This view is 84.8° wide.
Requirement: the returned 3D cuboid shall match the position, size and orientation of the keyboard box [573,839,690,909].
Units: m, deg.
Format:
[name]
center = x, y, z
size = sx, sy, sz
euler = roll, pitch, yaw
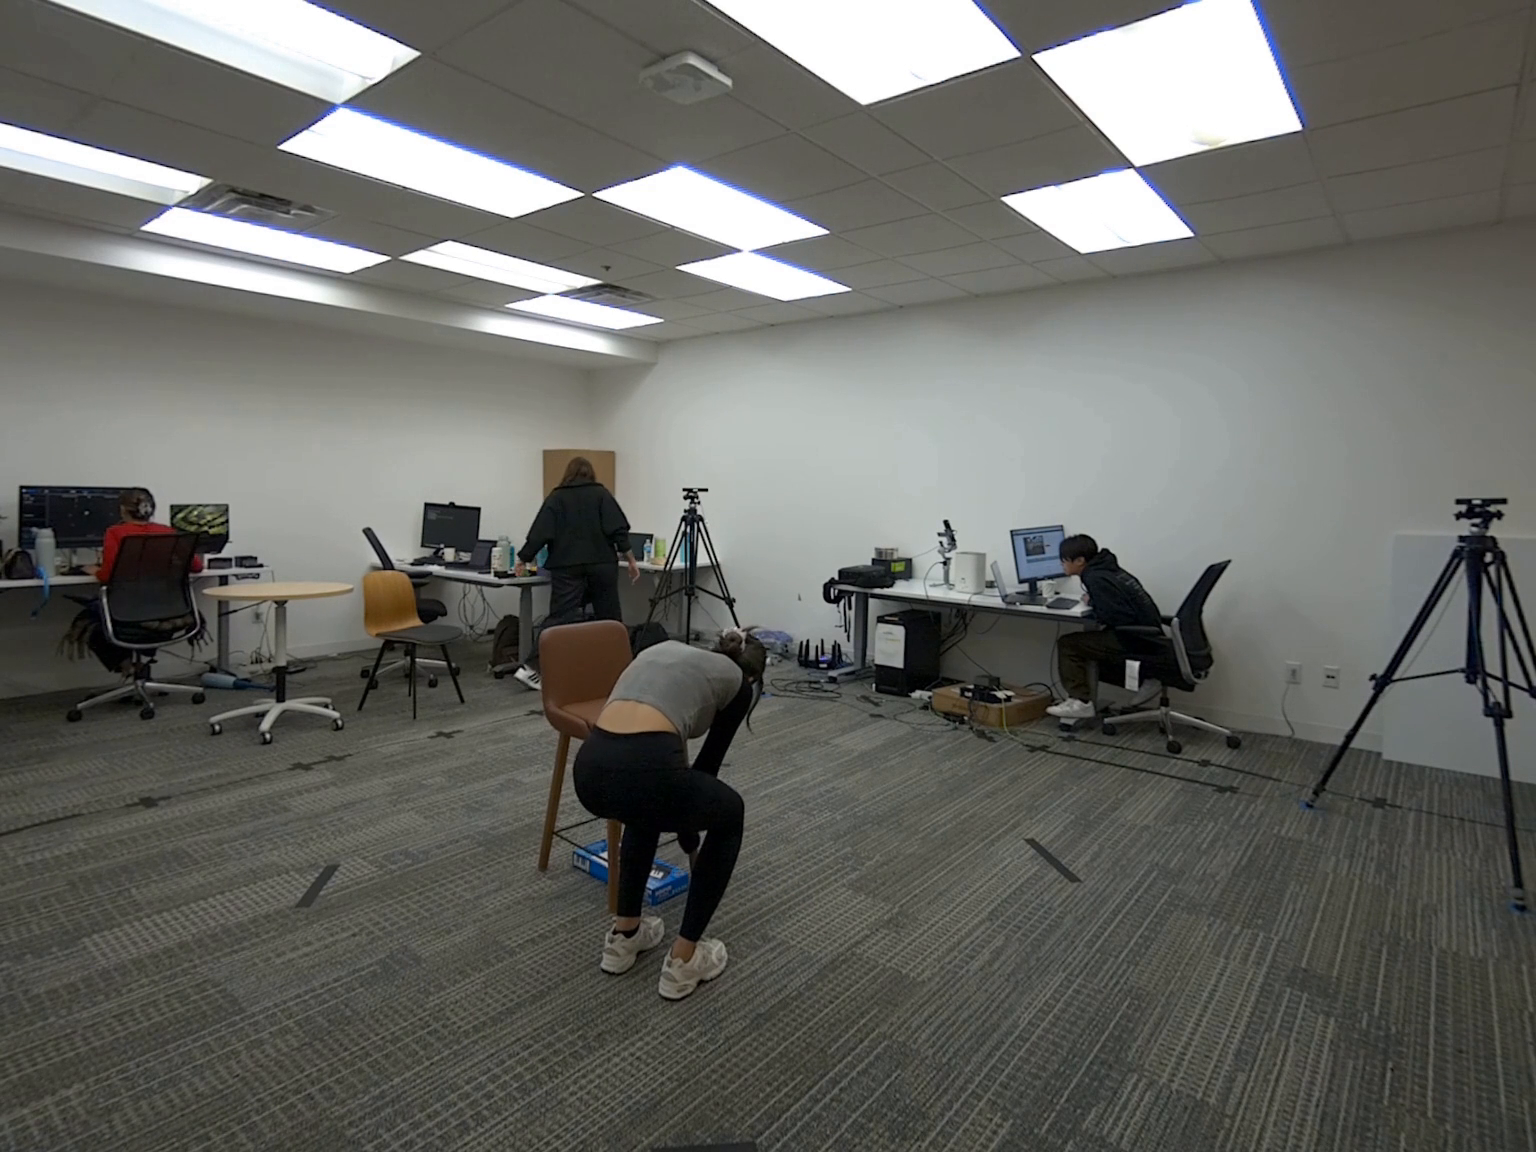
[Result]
[keyboard box]
center = -0.507, 1.045, 3.026
size = 0.452, 0.059, 0.171
euler = 5, 7, 41
